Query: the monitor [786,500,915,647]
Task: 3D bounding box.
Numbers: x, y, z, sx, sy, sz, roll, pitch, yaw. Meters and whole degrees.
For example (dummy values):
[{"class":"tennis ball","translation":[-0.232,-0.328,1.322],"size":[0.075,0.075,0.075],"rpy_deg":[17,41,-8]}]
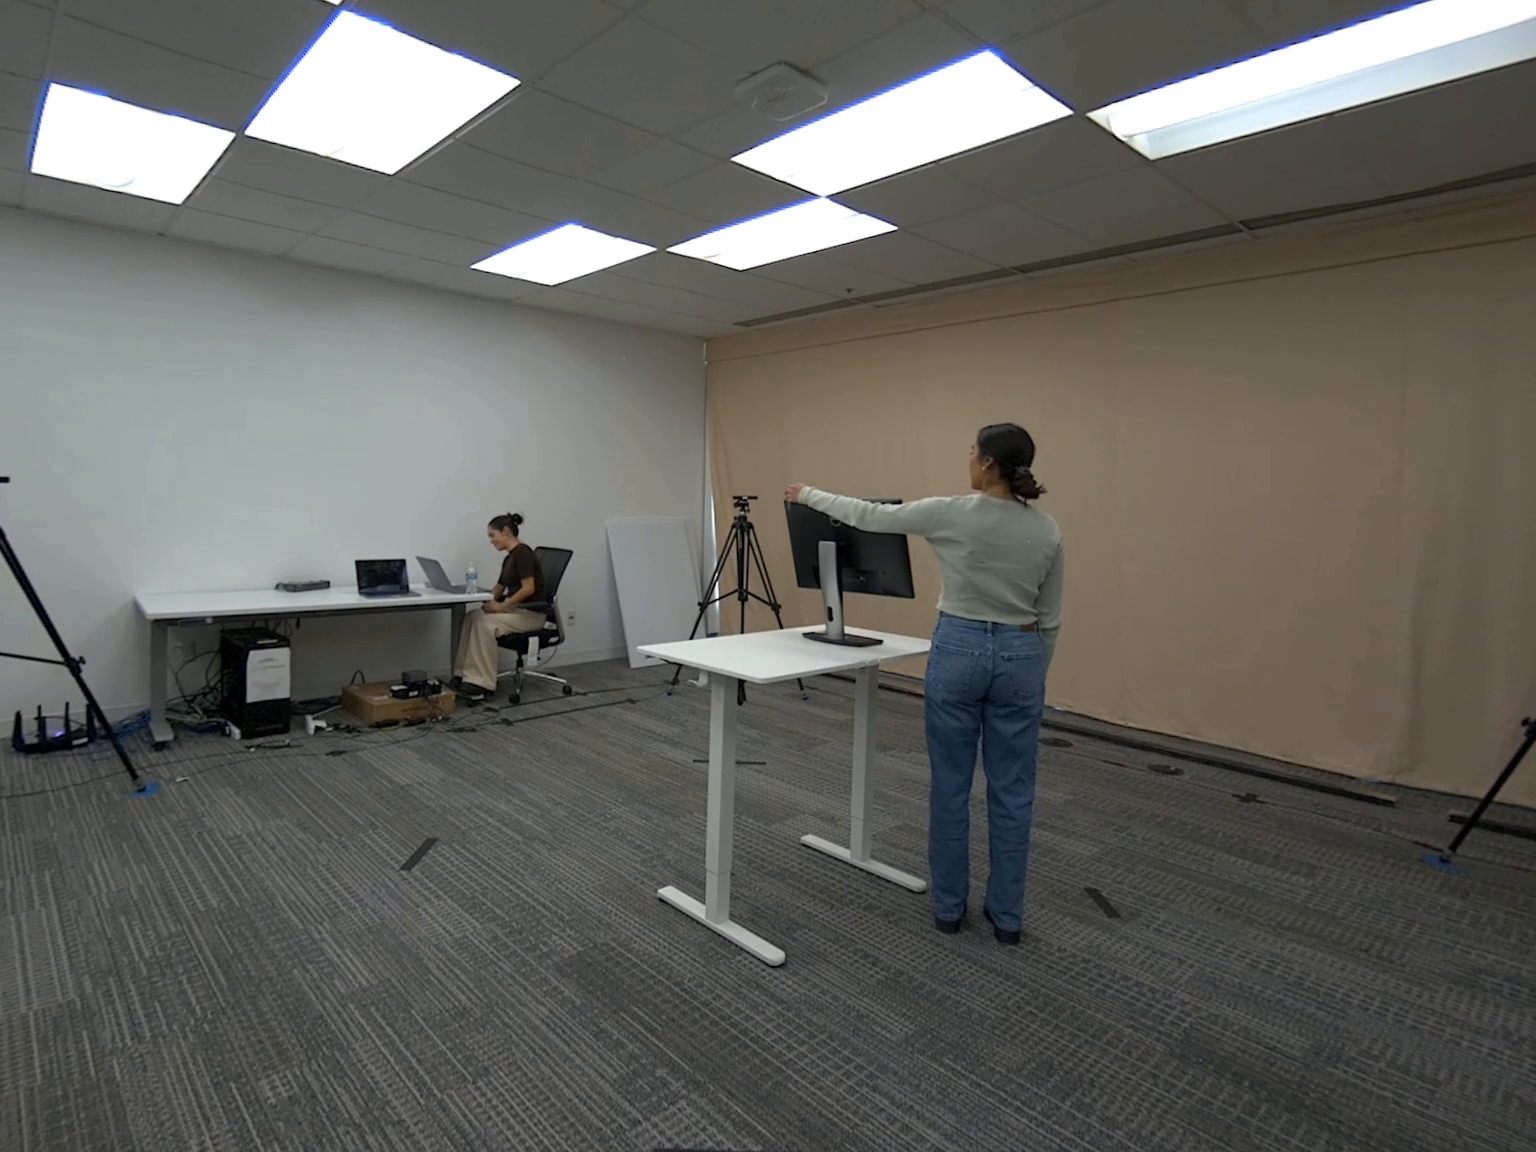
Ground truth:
[{"class":"monitor","translation":[0.258,-0.014,3.042],"size":[0.553,0.521,0.183],"rpy_deg":[5,7,43]}]
